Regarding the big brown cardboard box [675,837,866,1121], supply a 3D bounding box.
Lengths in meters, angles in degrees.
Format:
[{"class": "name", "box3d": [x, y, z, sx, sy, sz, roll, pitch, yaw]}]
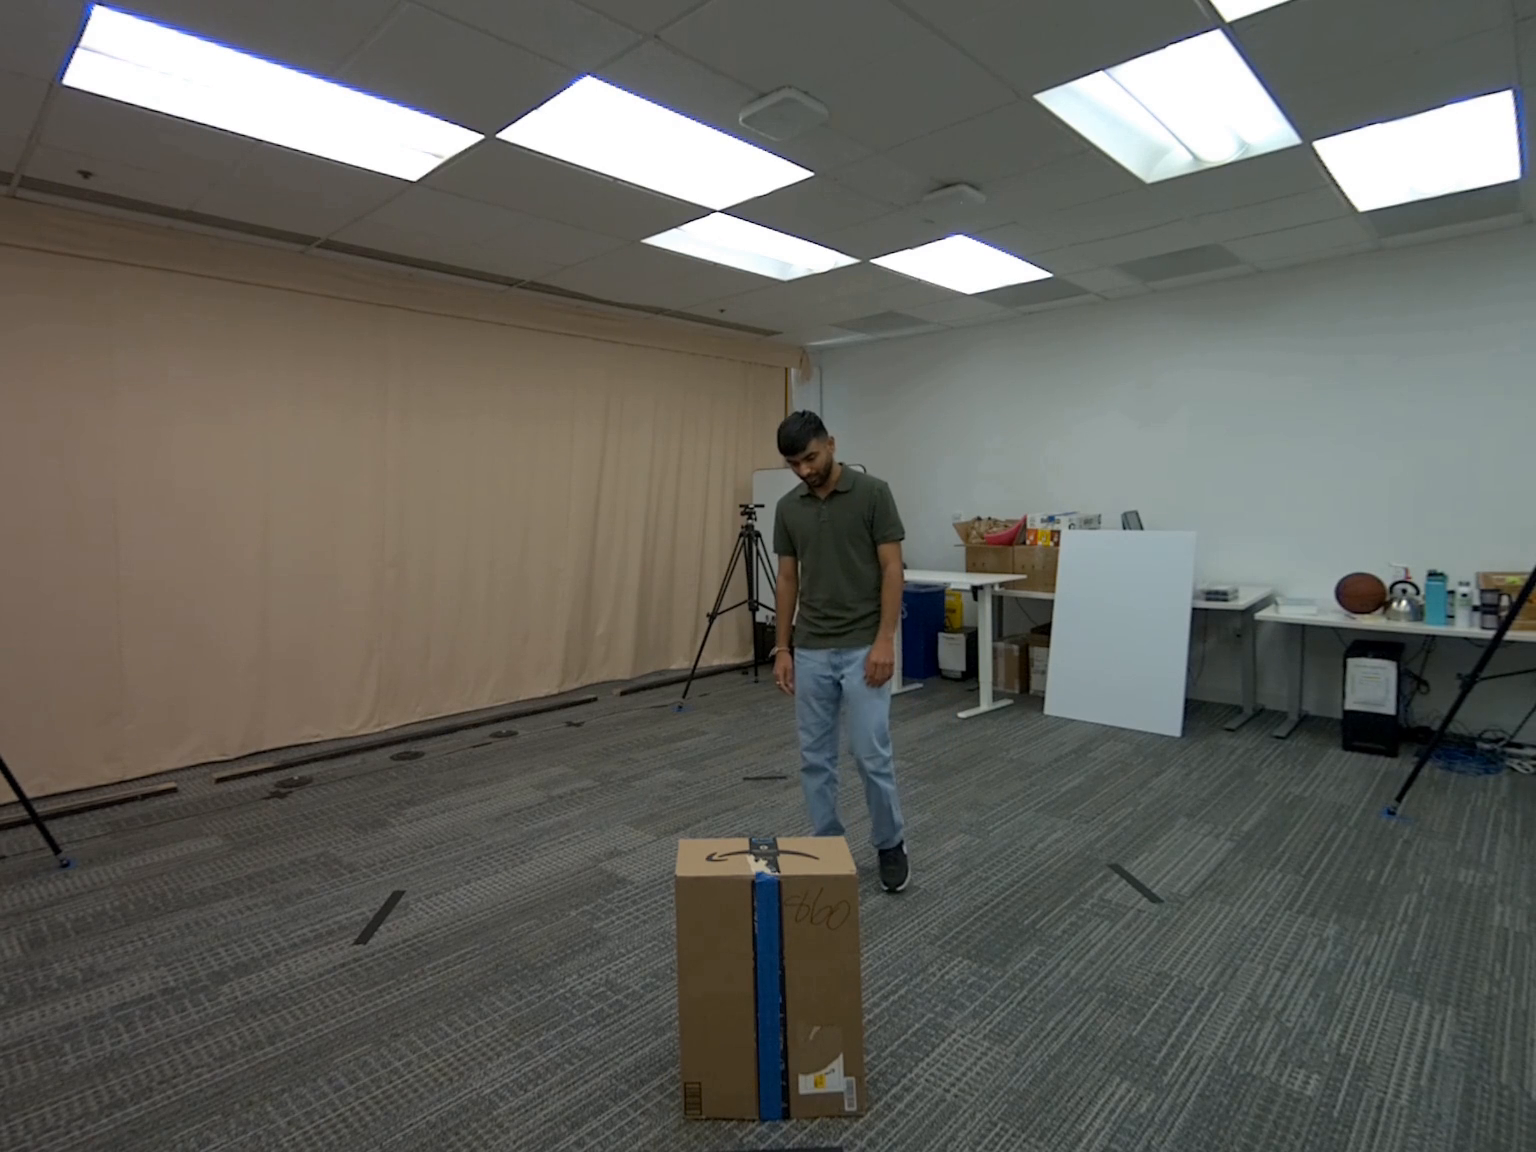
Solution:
[{"class": "big brown cardboard box", "box3d": [0.000, 0.944, 1.999, 0.417, 0.588, 0.233, -2, 2, 0]}]
